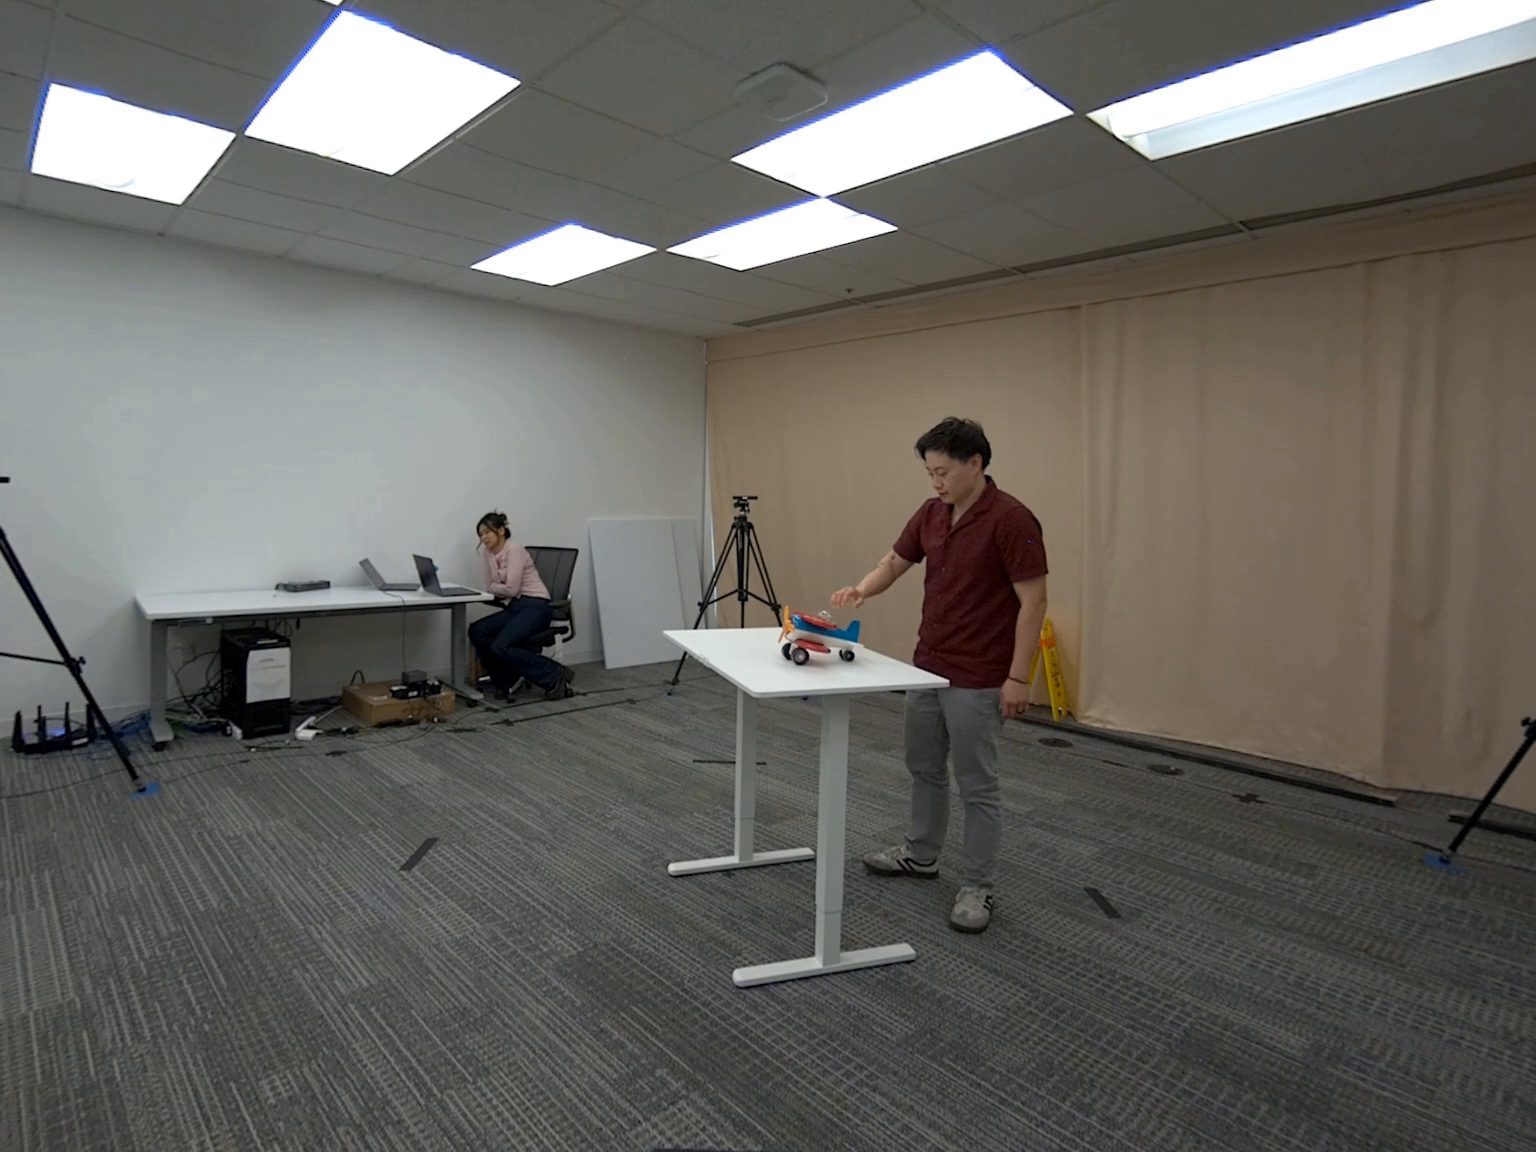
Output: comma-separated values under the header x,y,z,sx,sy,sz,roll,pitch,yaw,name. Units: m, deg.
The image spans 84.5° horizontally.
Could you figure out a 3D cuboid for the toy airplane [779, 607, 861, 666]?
x,y,z,sx,sy,sz,roll,pitch,yaw,name
0.155,0.192,2.668,0.253,0.156,0.258,-5,8,-44,toy airplane
